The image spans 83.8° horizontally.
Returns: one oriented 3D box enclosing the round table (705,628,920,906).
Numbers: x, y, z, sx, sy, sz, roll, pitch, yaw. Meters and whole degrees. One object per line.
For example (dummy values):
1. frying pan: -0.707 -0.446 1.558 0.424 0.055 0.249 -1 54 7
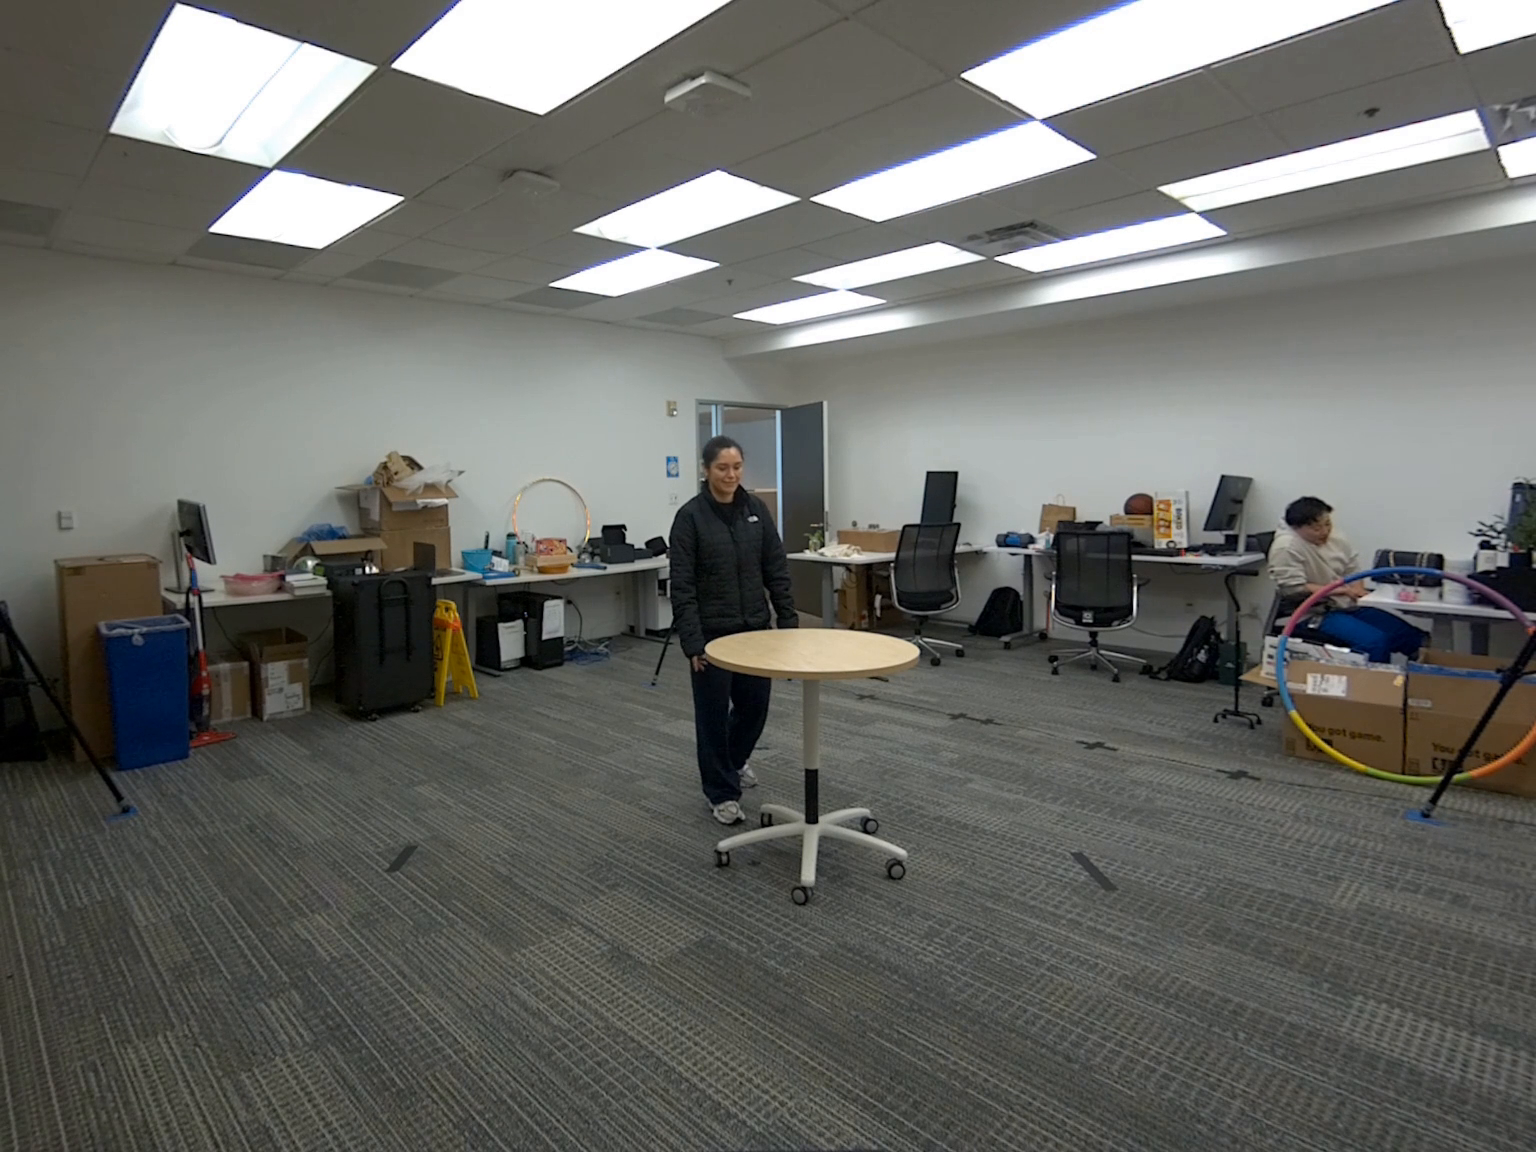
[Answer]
1. round table: 0.155 0.647 3.134 0.784 0.783 0.789 0 5 -2
